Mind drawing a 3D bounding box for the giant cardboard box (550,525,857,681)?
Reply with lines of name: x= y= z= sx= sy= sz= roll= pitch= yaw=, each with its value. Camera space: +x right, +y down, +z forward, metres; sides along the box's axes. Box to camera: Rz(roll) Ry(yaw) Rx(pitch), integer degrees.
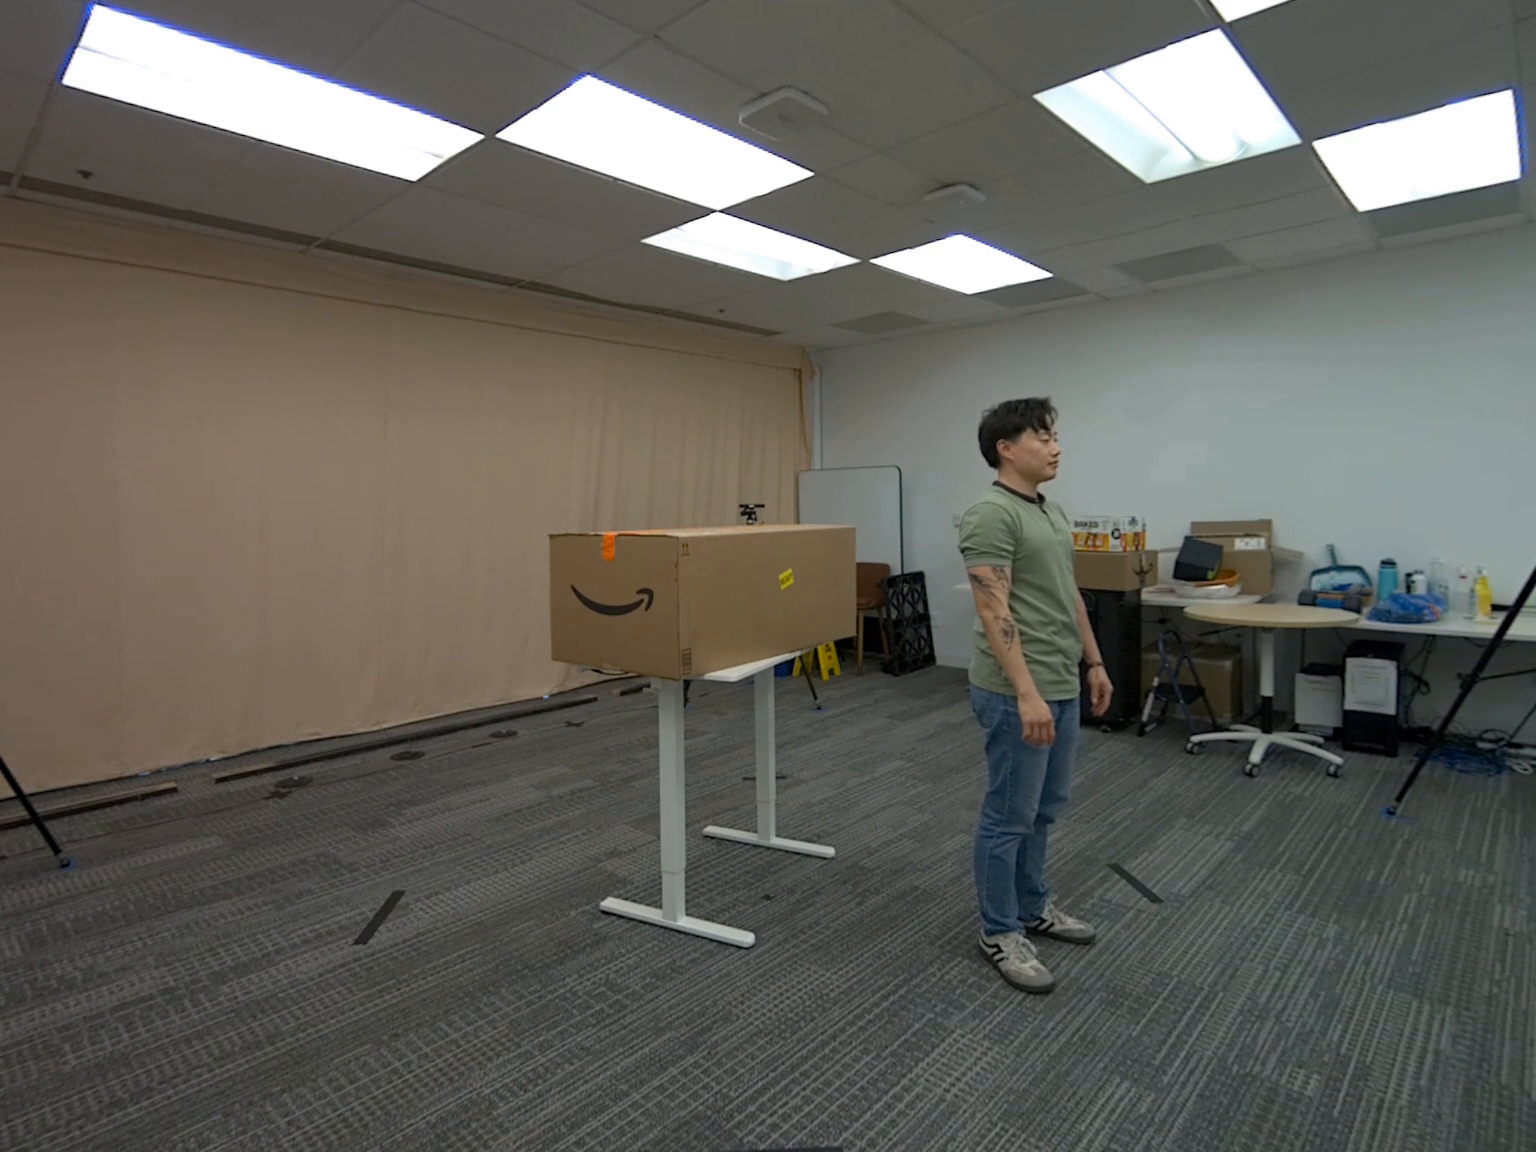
giant cardboard box: x=-0.191 y=0.047 z=3.011 sx=0.596 sy=0.425 sz=0.996 roll=3 pitch=5 yaw=37
